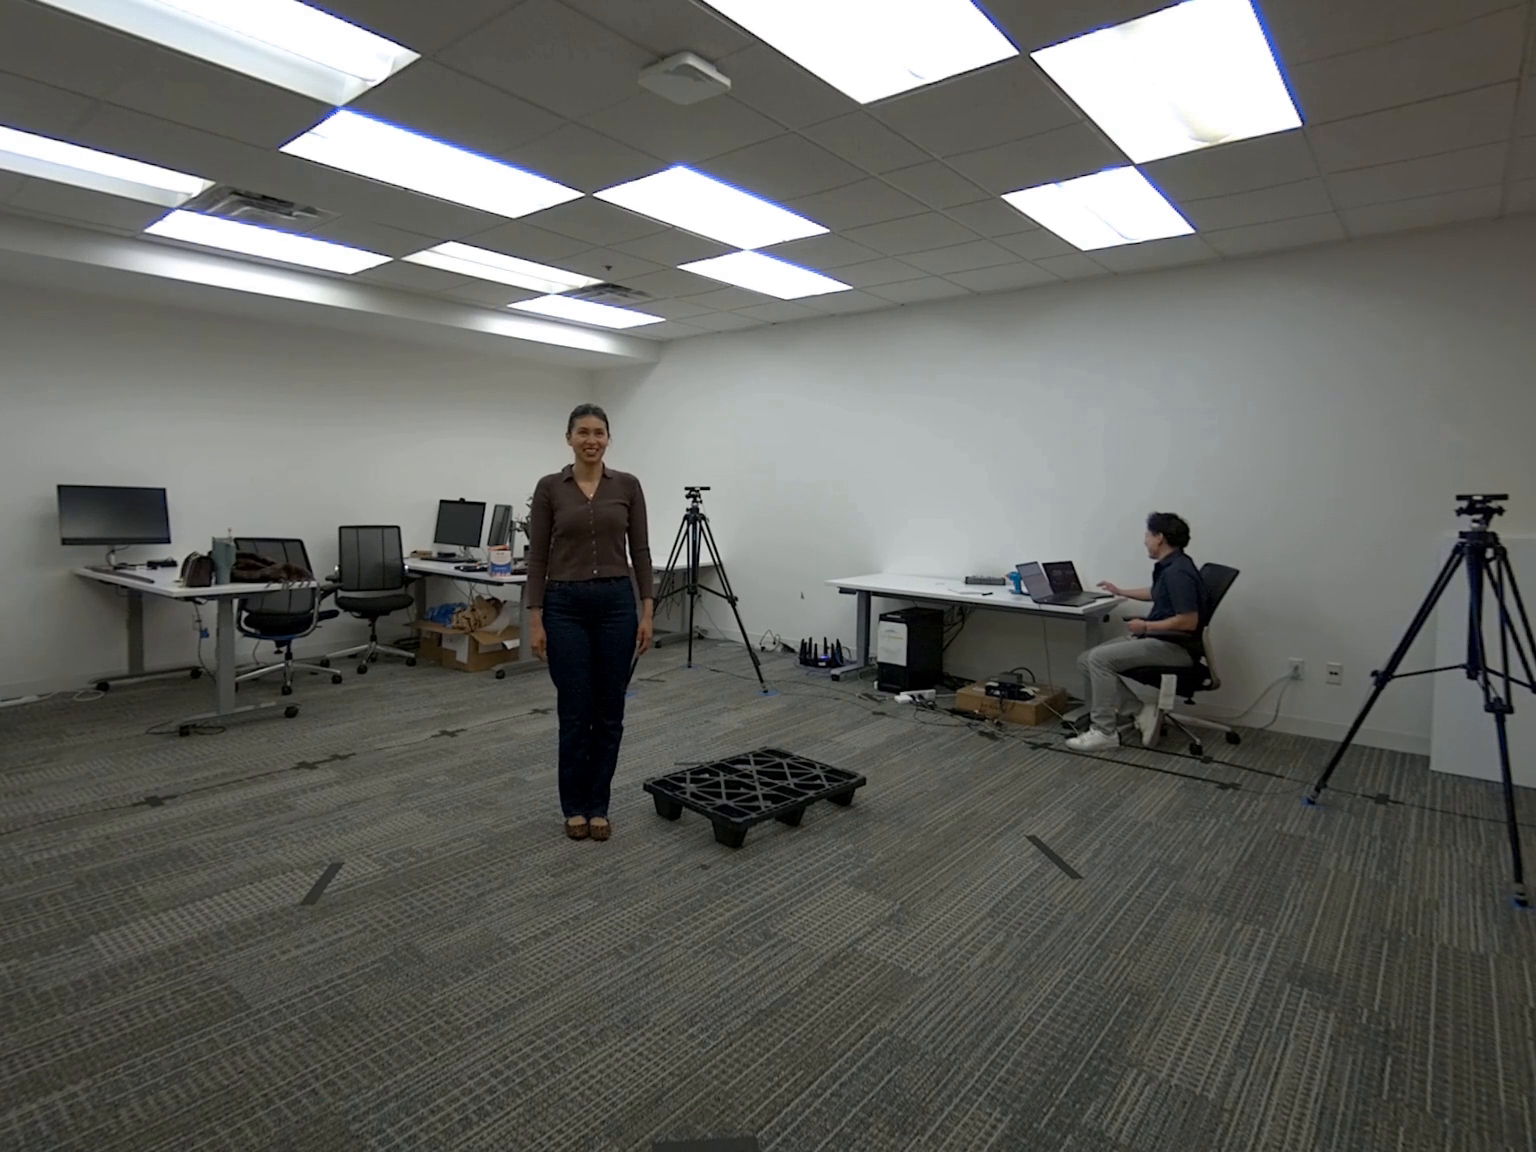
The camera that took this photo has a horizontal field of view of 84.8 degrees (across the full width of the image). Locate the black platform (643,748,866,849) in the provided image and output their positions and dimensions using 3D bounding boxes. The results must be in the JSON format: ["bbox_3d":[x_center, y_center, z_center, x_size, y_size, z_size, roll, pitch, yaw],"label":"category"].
[{"bbox_3d":[-0.057,0.943,3.691,0.781,0.143,0.626,-5,9,-44],"label":"black platform"}]
